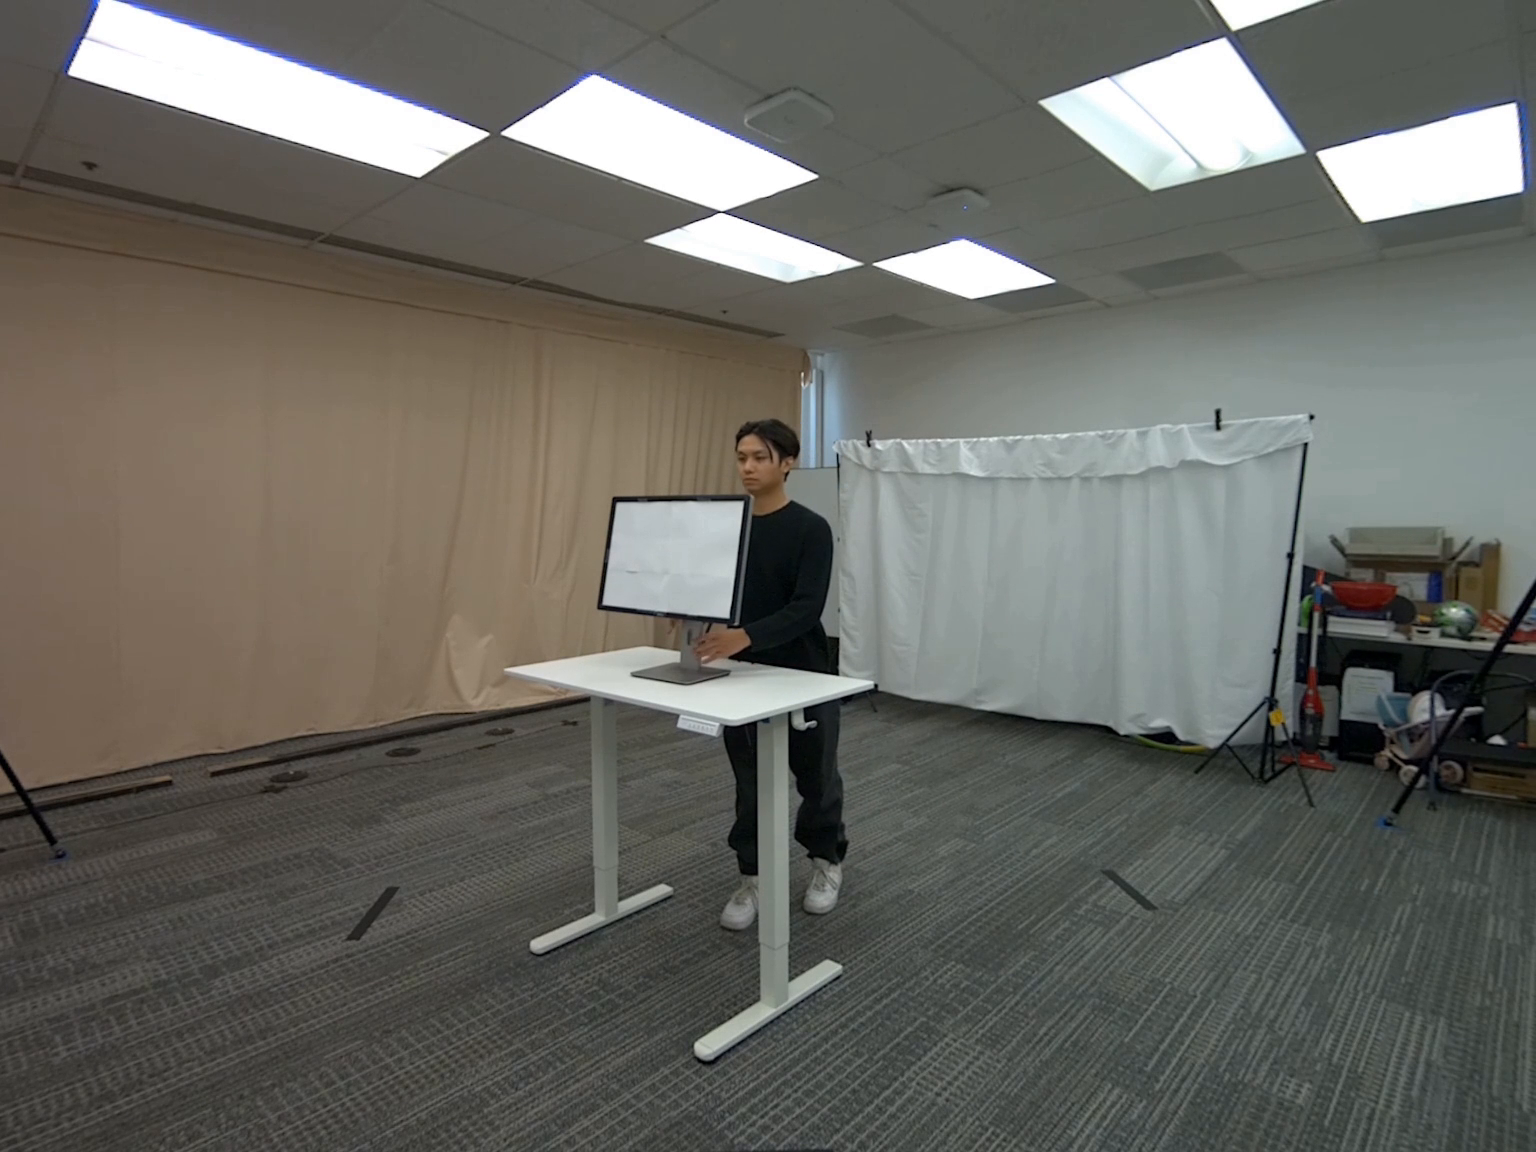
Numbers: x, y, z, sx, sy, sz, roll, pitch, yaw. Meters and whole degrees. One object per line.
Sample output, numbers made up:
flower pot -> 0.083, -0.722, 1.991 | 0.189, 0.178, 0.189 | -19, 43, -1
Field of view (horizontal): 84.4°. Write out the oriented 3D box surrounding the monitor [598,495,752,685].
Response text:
monitor -> -0.267, 0.030, 2.522 | 0.547, 0.513, 0.170 | 5, 11, 38
